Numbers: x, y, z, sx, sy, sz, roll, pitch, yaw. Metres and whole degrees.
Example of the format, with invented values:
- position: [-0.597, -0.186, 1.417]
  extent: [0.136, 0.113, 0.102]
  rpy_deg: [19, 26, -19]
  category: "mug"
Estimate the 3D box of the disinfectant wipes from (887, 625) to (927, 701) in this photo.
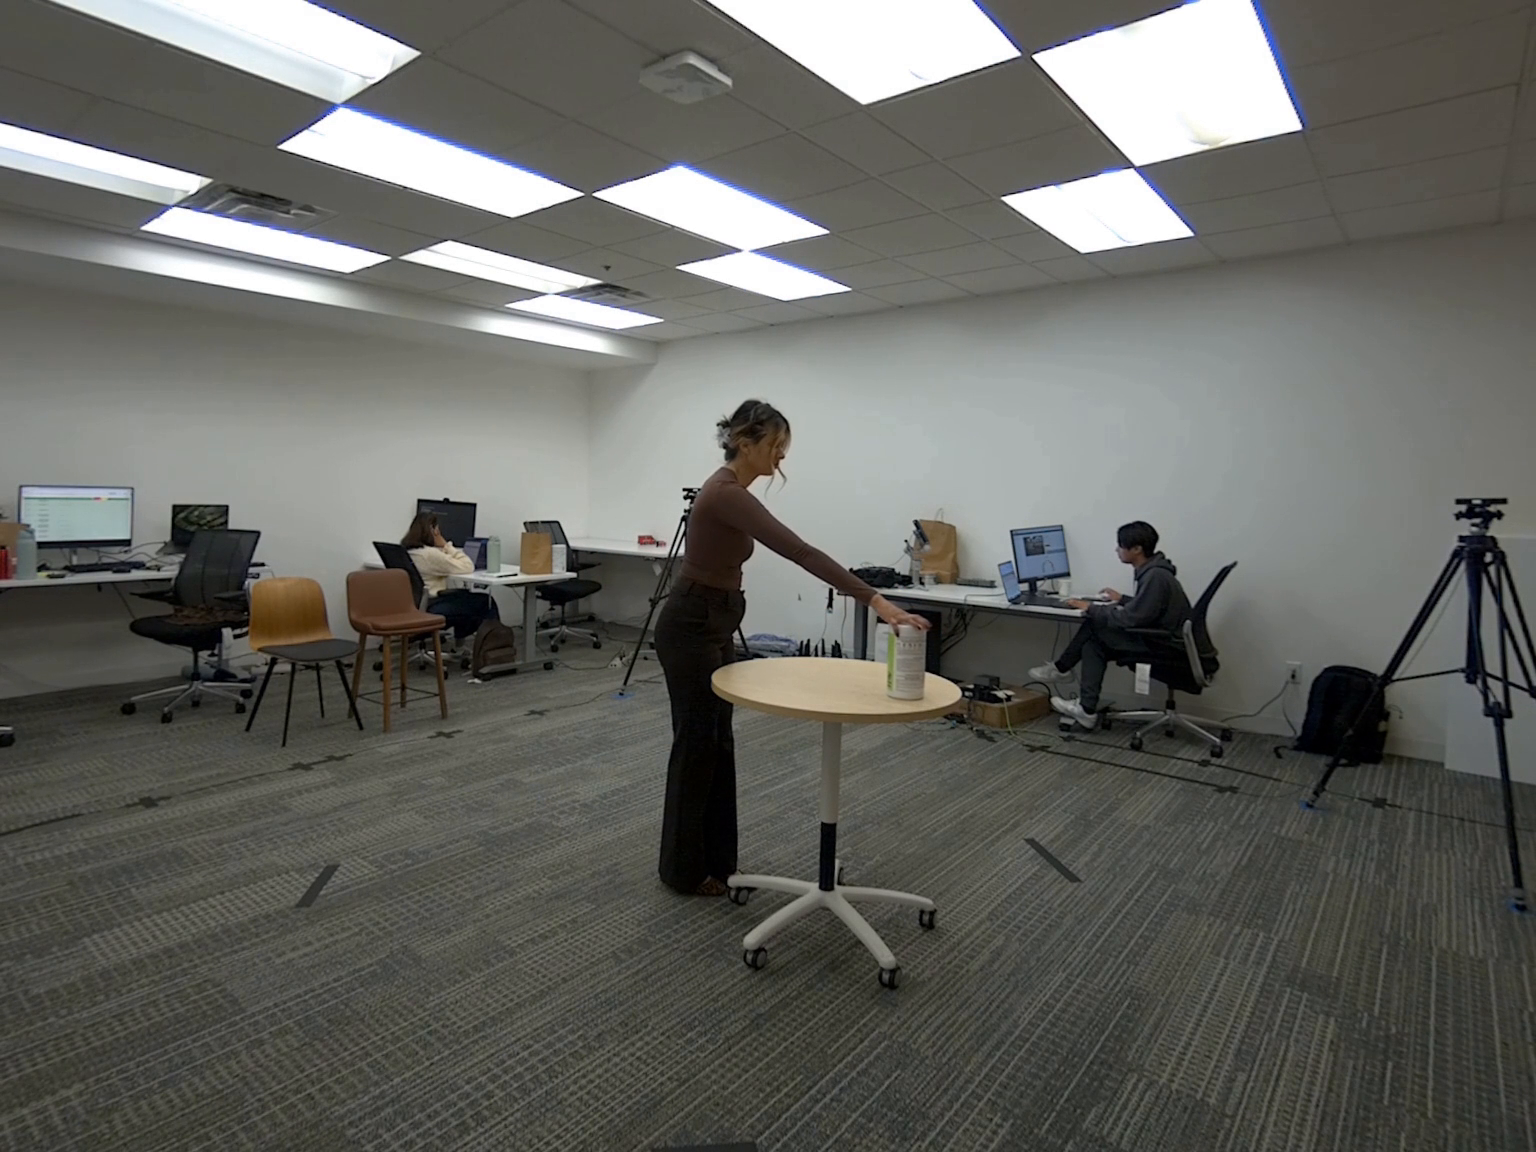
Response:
- position: [0.402, 0.244, 2.480]
  extent: [0.118, 0.217, 0.118]
  rpy_deg: [1, 2, -2]
  category: "disinfectant wipes"
